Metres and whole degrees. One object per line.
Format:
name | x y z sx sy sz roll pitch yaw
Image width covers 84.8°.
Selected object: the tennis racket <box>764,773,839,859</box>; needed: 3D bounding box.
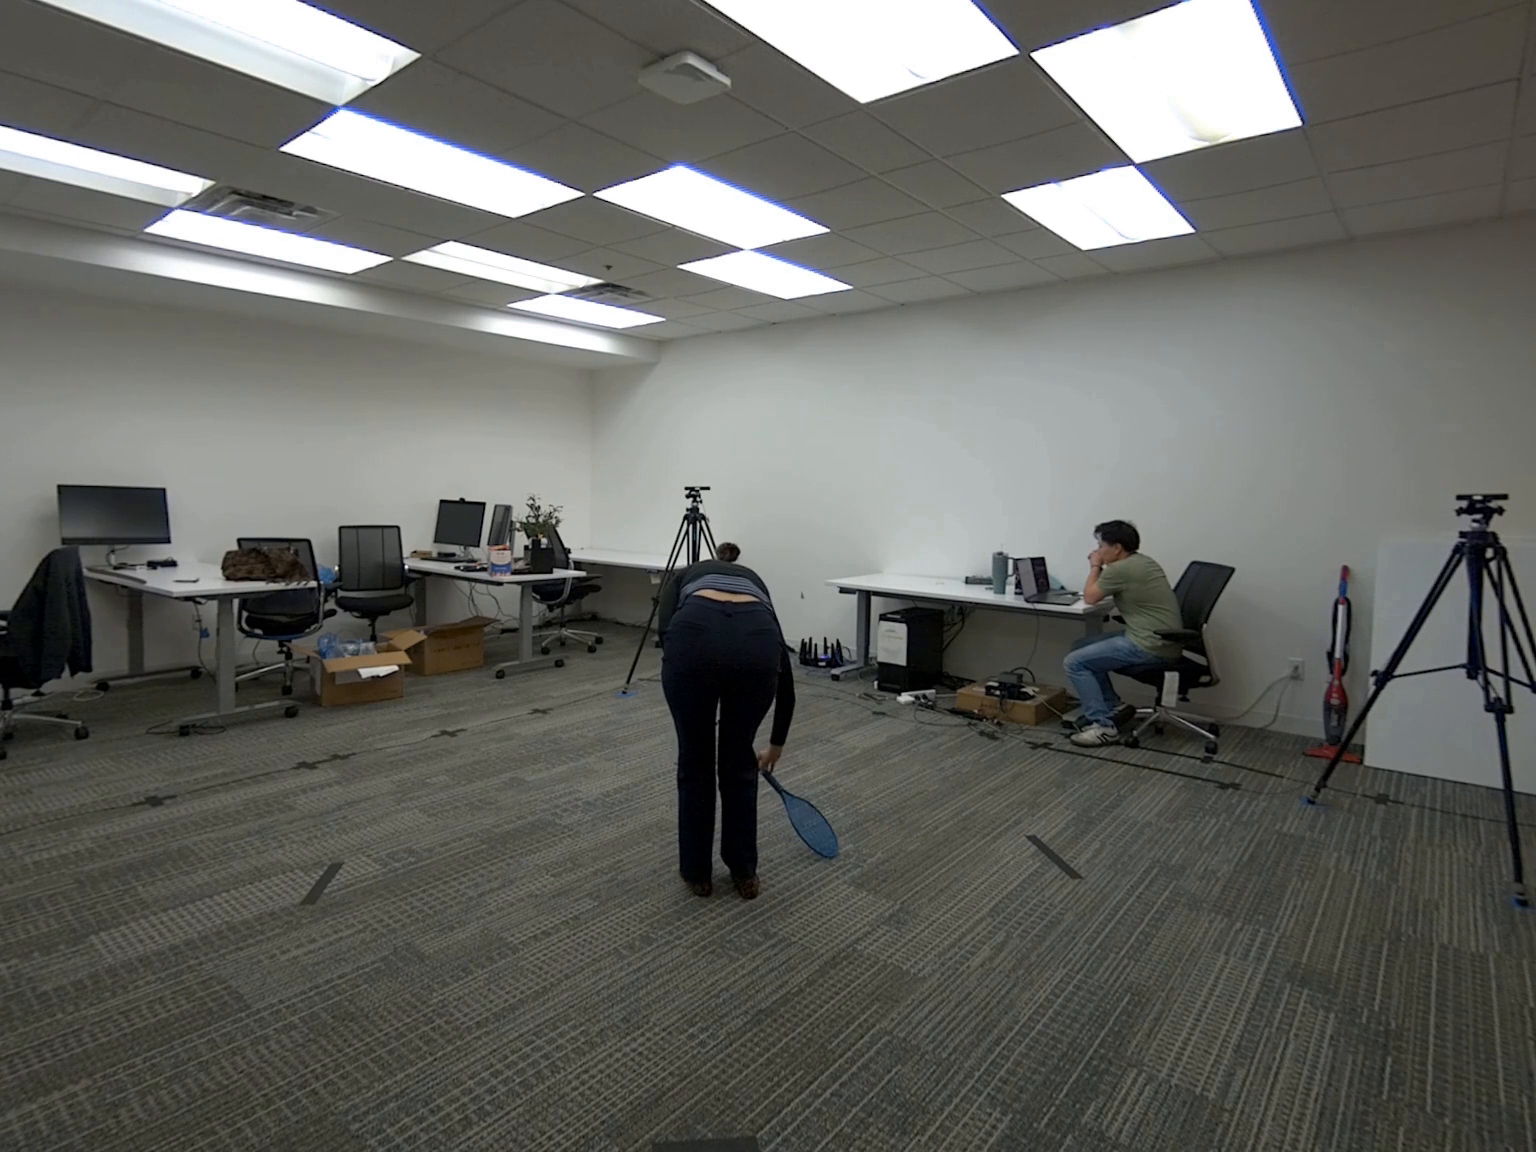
tennis racket | 0.109 0.901 3.271 0.032 0.438 0.211 -47 -8 23
